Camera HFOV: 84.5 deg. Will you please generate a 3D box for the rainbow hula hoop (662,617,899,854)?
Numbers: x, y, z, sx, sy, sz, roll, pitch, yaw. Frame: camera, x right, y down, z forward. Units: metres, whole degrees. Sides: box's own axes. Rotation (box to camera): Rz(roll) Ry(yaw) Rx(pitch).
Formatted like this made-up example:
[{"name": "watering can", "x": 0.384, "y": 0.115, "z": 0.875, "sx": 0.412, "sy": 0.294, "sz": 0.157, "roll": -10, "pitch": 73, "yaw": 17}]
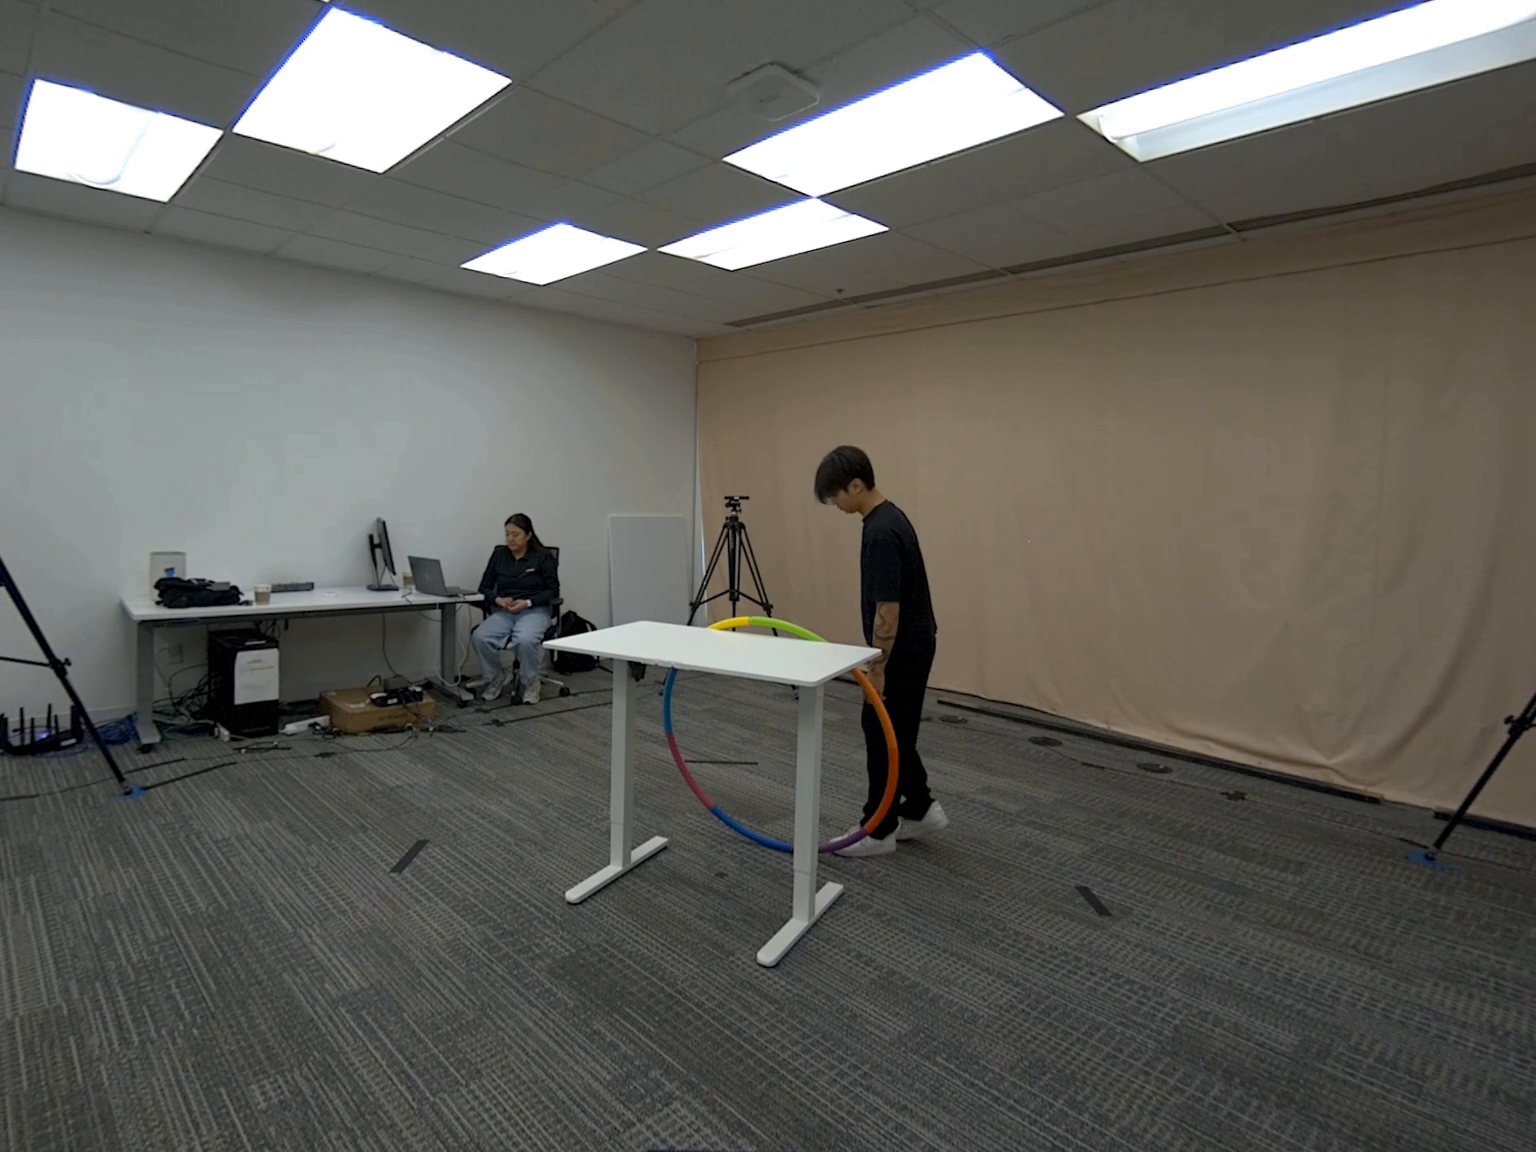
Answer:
[{"name": "rainbow hula hoop", "x": 0.014, "y": 0.625, "z": 3.238, "sx": 1.000, "sy": 0.968, "sz": 0.035, "roll": 4, "pitch": 15, "yaw": 29}]
